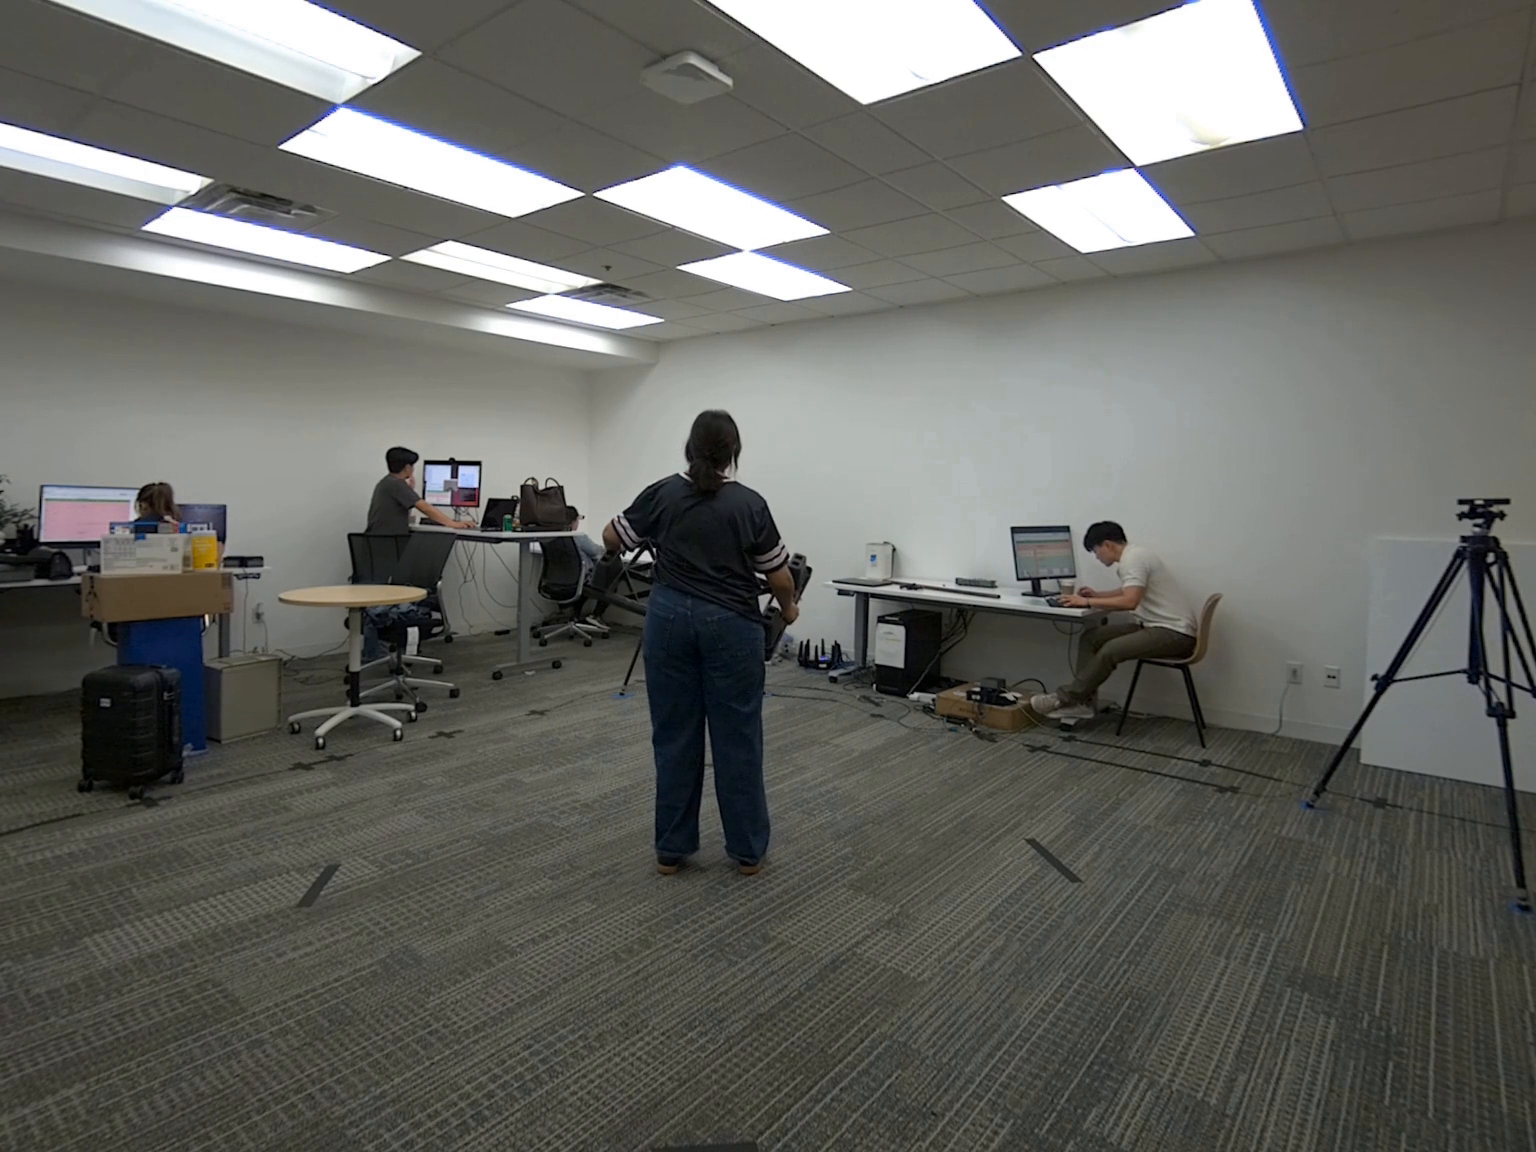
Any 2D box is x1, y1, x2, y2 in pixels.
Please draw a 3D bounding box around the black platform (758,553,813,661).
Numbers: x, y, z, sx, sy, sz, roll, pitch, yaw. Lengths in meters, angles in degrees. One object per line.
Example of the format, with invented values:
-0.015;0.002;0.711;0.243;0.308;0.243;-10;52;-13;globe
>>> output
-0.269;-0.025;3.470;0.818;0.140;0.609;18;39;11;black platform
